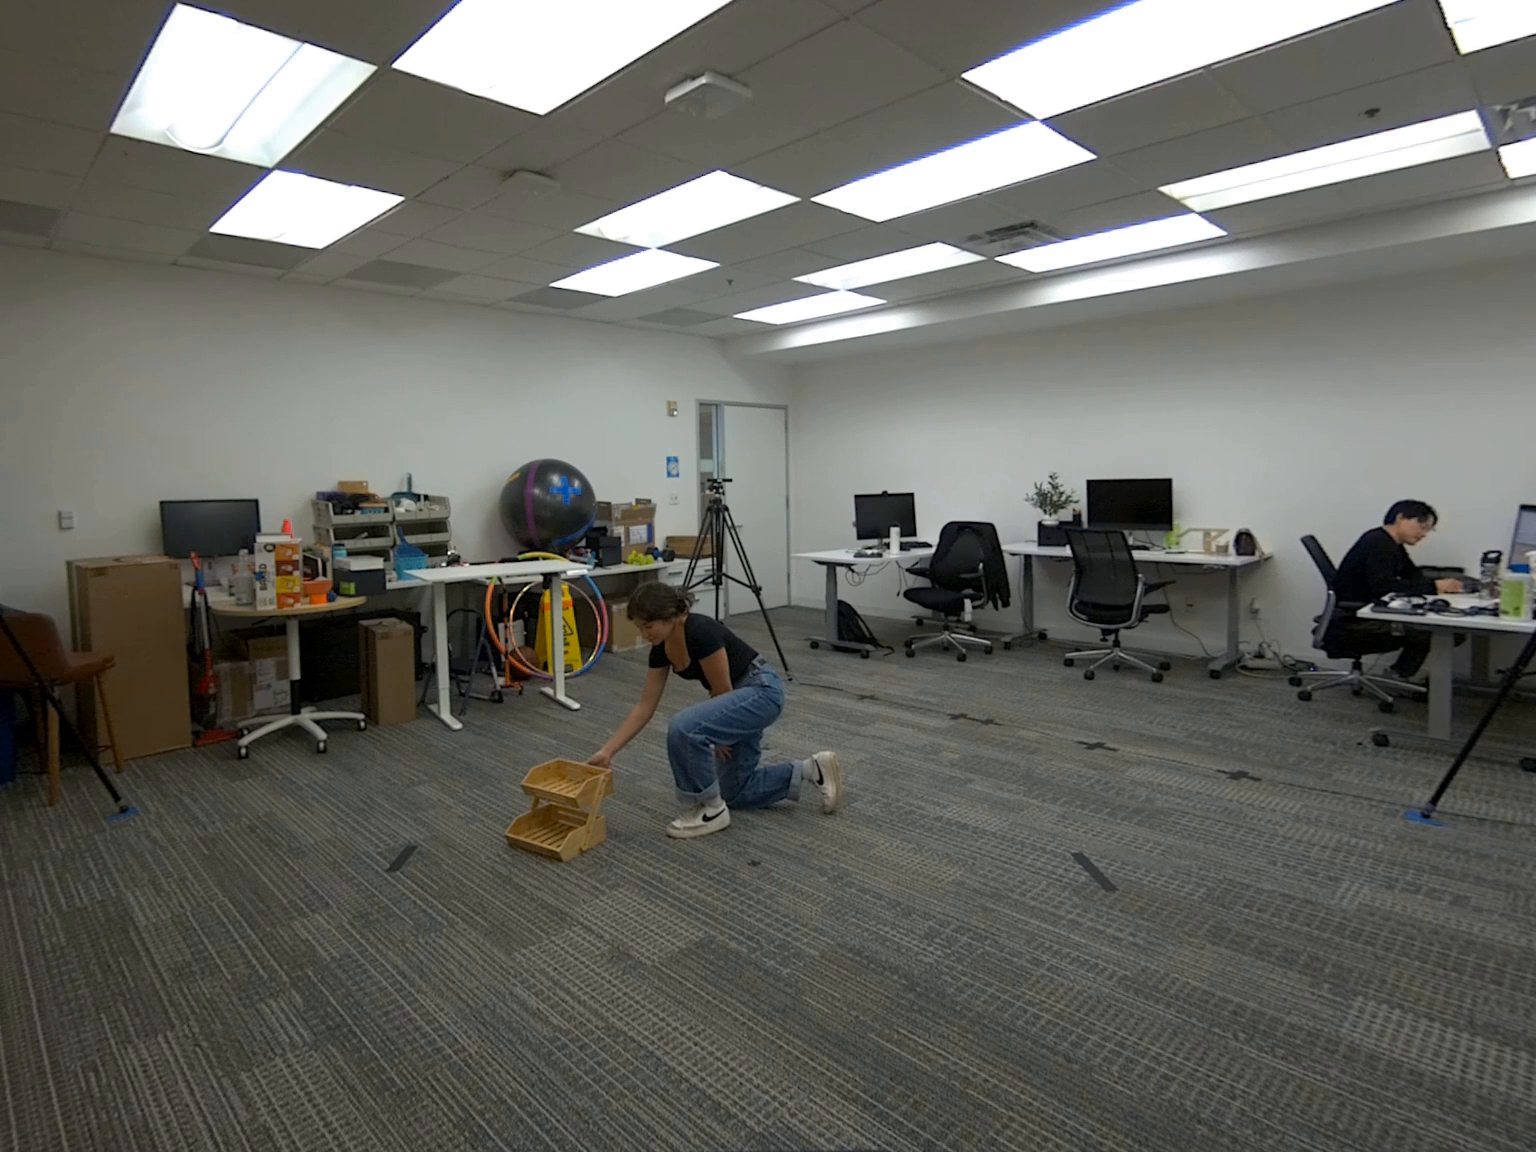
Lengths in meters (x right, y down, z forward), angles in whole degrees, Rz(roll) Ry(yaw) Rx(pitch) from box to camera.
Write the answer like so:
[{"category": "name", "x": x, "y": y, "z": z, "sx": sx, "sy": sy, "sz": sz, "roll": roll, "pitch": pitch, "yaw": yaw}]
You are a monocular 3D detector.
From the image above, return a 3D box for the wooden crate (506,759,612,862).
[{"category": "wooden crate", "x": -0.815, "y": 0.902, "z": 3.330, "sx": 0.333, "sy": 0.272, "sz": 0.295, "roll": 1, "pitch": 5, "yaw": 33}]
